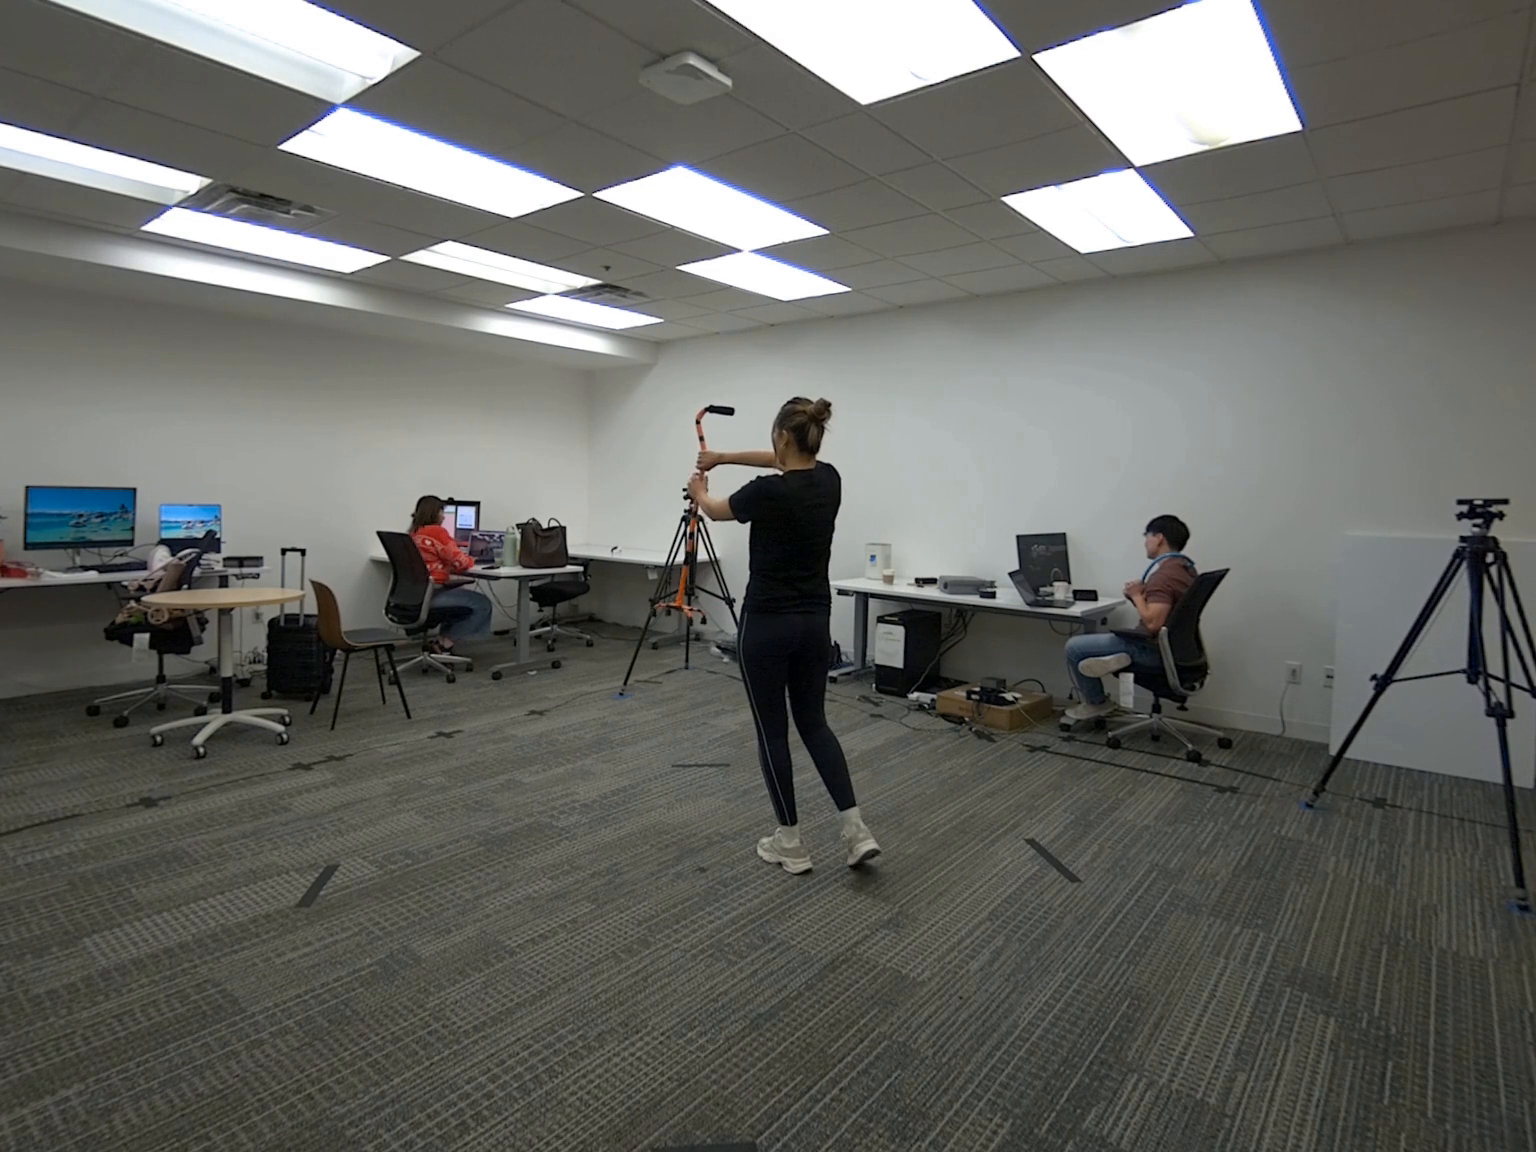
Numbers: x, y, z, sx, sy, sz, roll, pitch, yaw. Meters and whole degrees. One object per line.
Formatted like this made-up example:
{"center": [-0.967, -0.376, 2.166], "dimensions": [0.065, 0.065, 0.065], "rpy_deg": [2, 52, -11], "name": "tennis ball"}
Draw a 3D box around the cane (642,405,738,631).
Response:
{"center": [-0.314, -0.274, 3.568], "dimensions": [0.212, 0.907, 0.148], "rpy_deg": [11, 1, 22], "name": "cane"}
